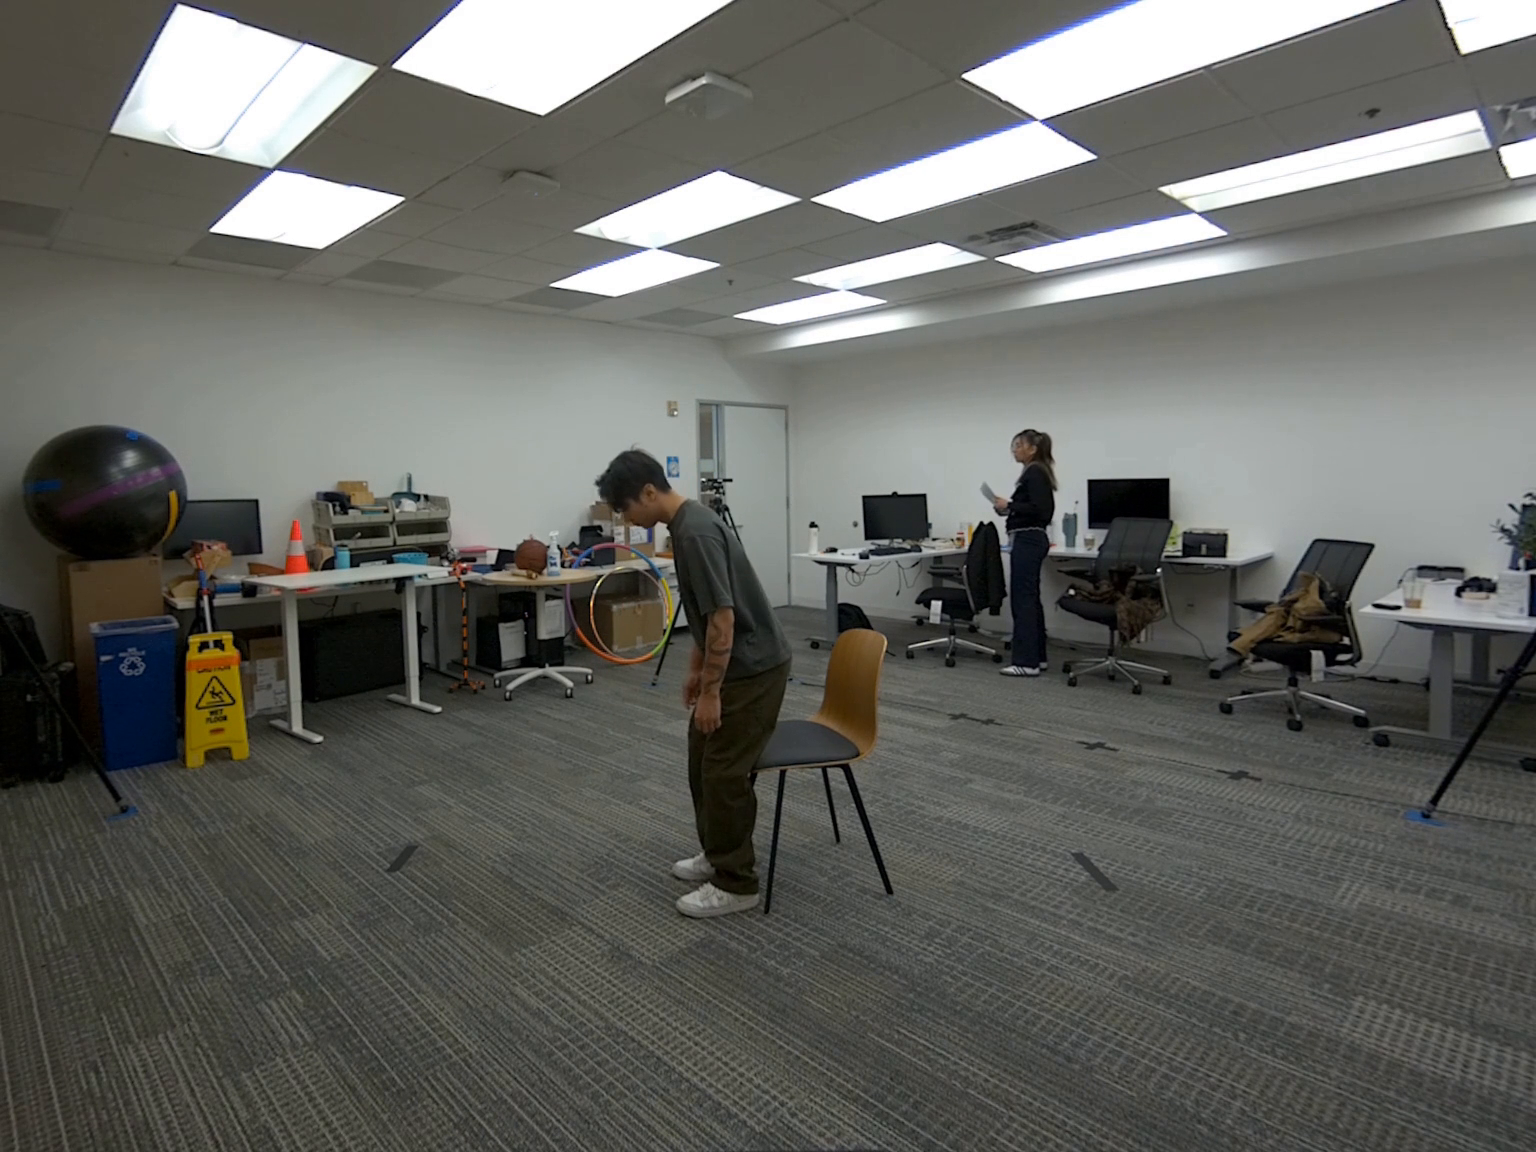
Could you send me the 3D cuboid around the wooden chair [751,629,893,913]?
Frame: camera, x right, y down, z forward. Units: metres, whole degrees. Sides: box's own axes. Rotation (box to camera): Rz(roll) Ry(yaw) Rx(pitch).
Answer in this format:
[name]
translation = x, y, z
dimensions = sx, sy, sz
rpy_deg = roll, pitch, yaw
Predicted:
[wooden chair]
translation = 0.124, 0.625, 2.976
dimensions = 0.515, 0.875, 0.487
rpy_deg = 2, 4, -17
